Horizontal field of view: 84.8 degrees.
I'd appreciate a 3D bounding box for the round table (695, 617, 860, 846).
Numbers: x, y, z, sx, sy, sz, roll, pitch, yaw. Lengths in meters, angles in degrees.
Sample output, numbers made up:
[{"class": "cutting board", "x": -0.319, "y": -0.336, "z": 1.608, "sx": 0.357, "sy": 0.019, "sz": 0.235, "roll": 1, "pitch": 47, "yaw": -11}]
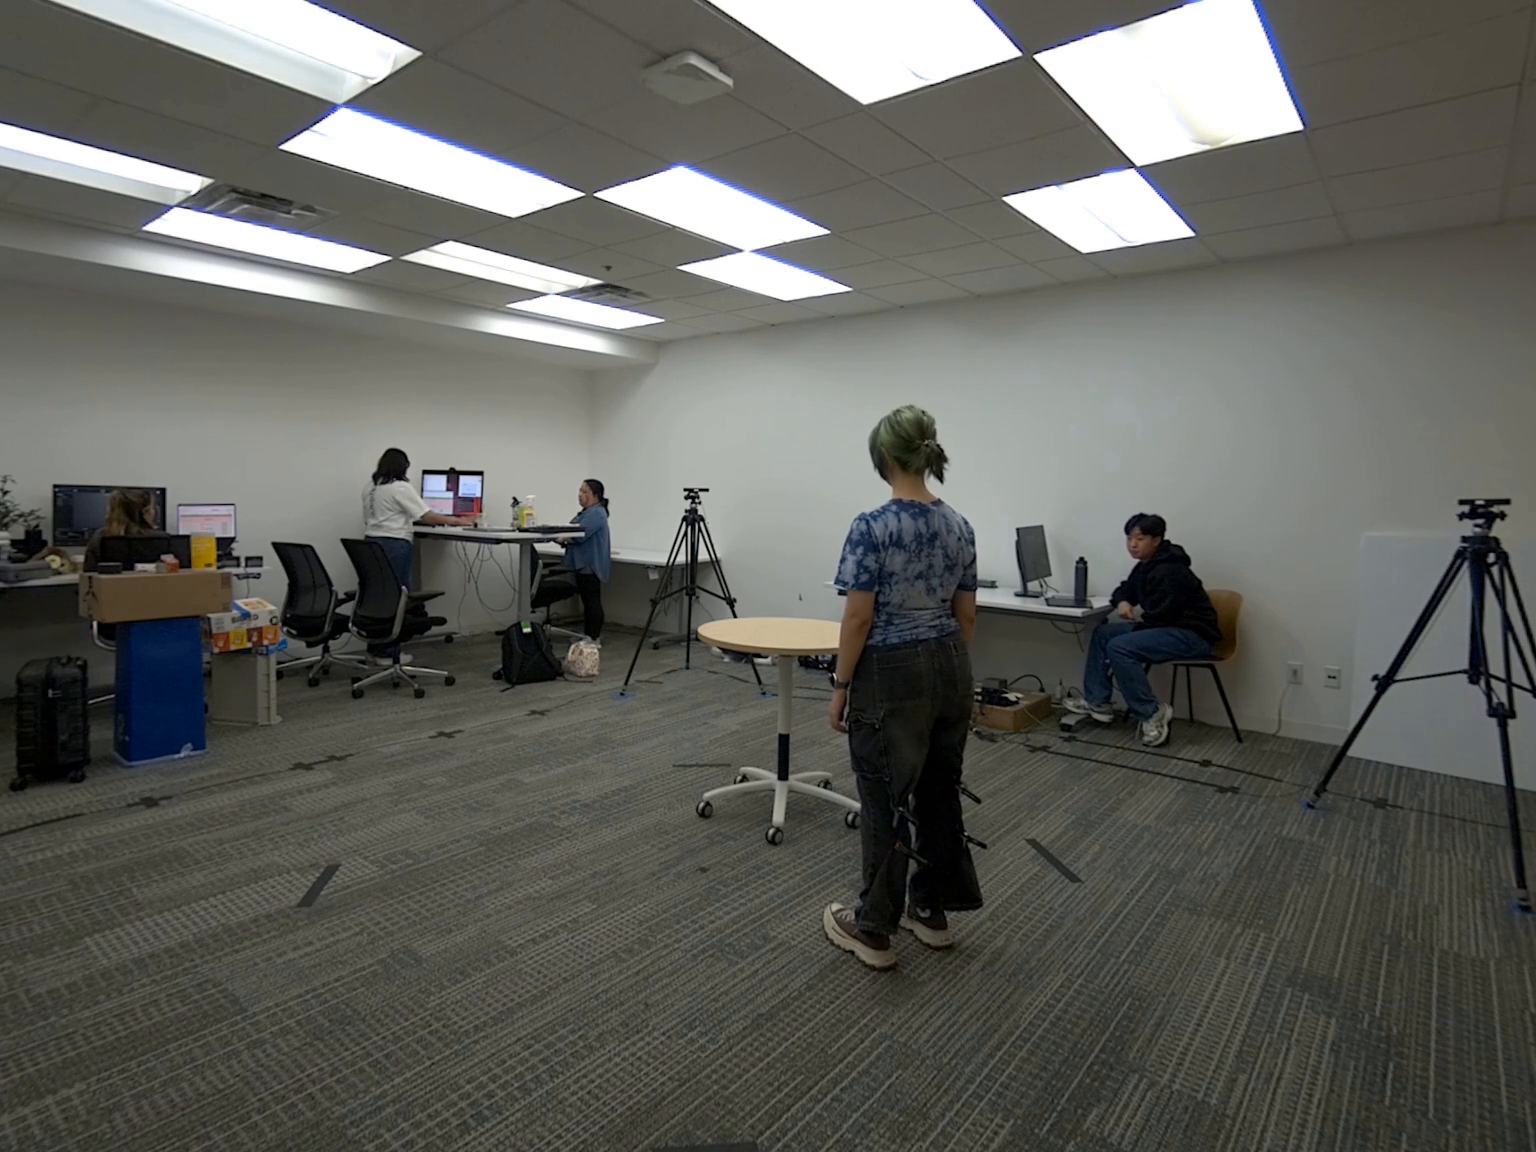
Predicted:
[{"class": "round table", "x": 0.058, "y": 0.631, "z": 3.679, "sx": 0.763, "sy": 0.791, "sz": 0.768, "roll": 1, "pitch": 4, "yaw": -2}]
